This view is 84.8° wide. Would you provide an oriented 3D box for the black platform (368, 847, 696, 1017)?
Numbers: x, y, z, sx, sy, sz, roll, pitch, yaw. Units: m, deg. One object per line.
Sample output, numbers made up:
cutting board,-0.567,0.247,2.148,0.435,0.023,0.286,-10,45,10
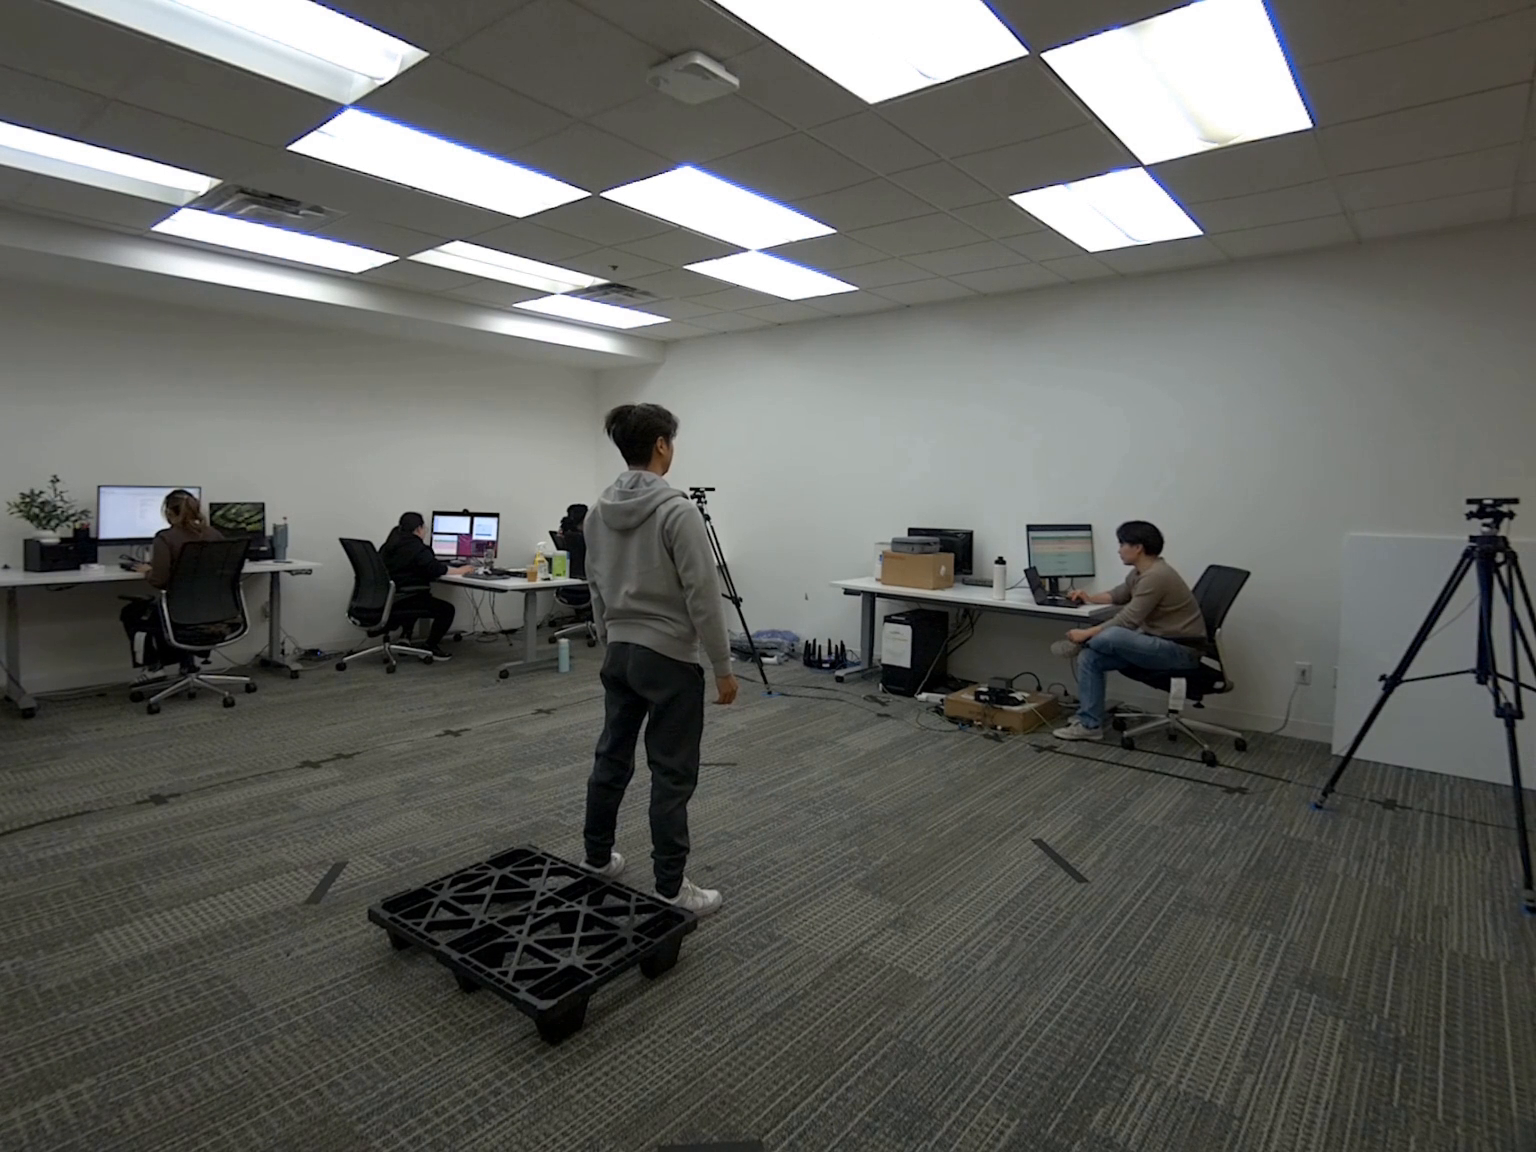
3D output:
black platform,-0.704,1.048,2.521,0.832,0.143,0.588,5,7,36
